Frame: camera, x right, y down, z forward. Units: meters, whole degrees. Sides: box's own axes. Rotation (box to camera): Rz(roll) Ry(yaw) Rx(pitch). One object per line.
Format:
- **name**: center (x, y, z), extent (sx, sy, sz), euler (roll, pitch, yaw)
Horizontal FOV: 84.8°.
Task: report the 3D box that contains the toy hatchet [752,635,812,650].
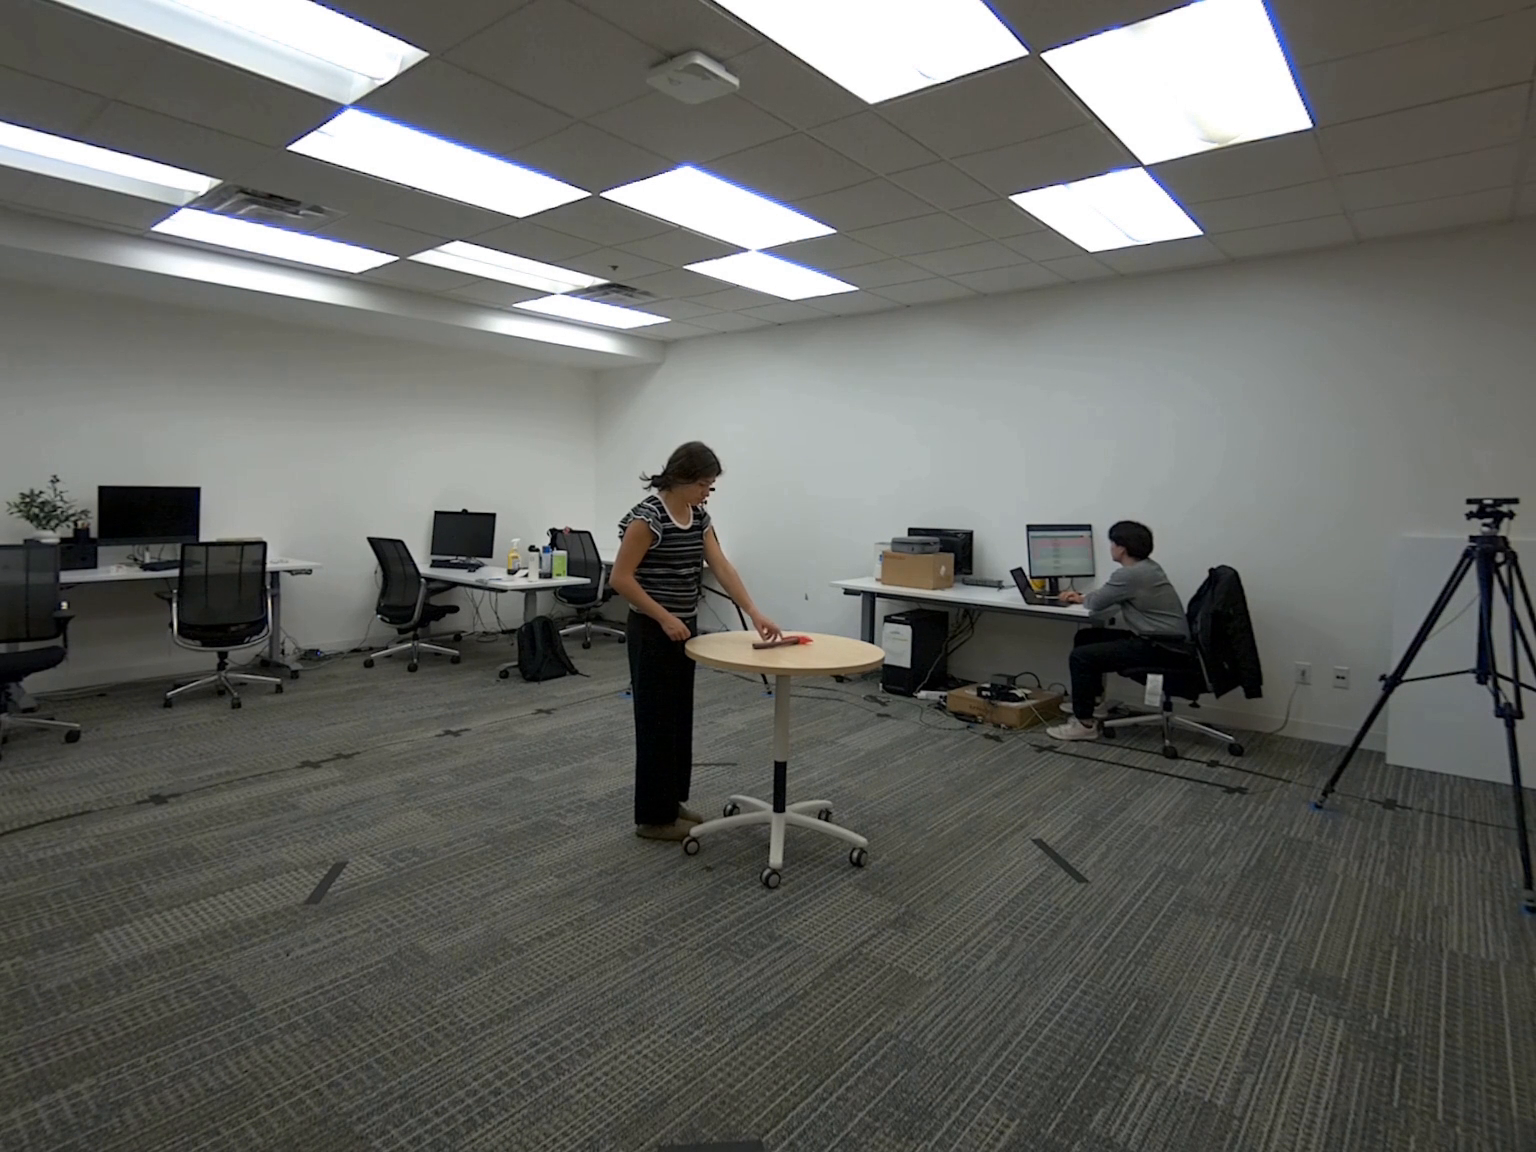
- **toy hatchet**: center (0.029, 0.252, 3.331), extent (0.263, 0.029, 0.135), euler (-3, 8, -29)
